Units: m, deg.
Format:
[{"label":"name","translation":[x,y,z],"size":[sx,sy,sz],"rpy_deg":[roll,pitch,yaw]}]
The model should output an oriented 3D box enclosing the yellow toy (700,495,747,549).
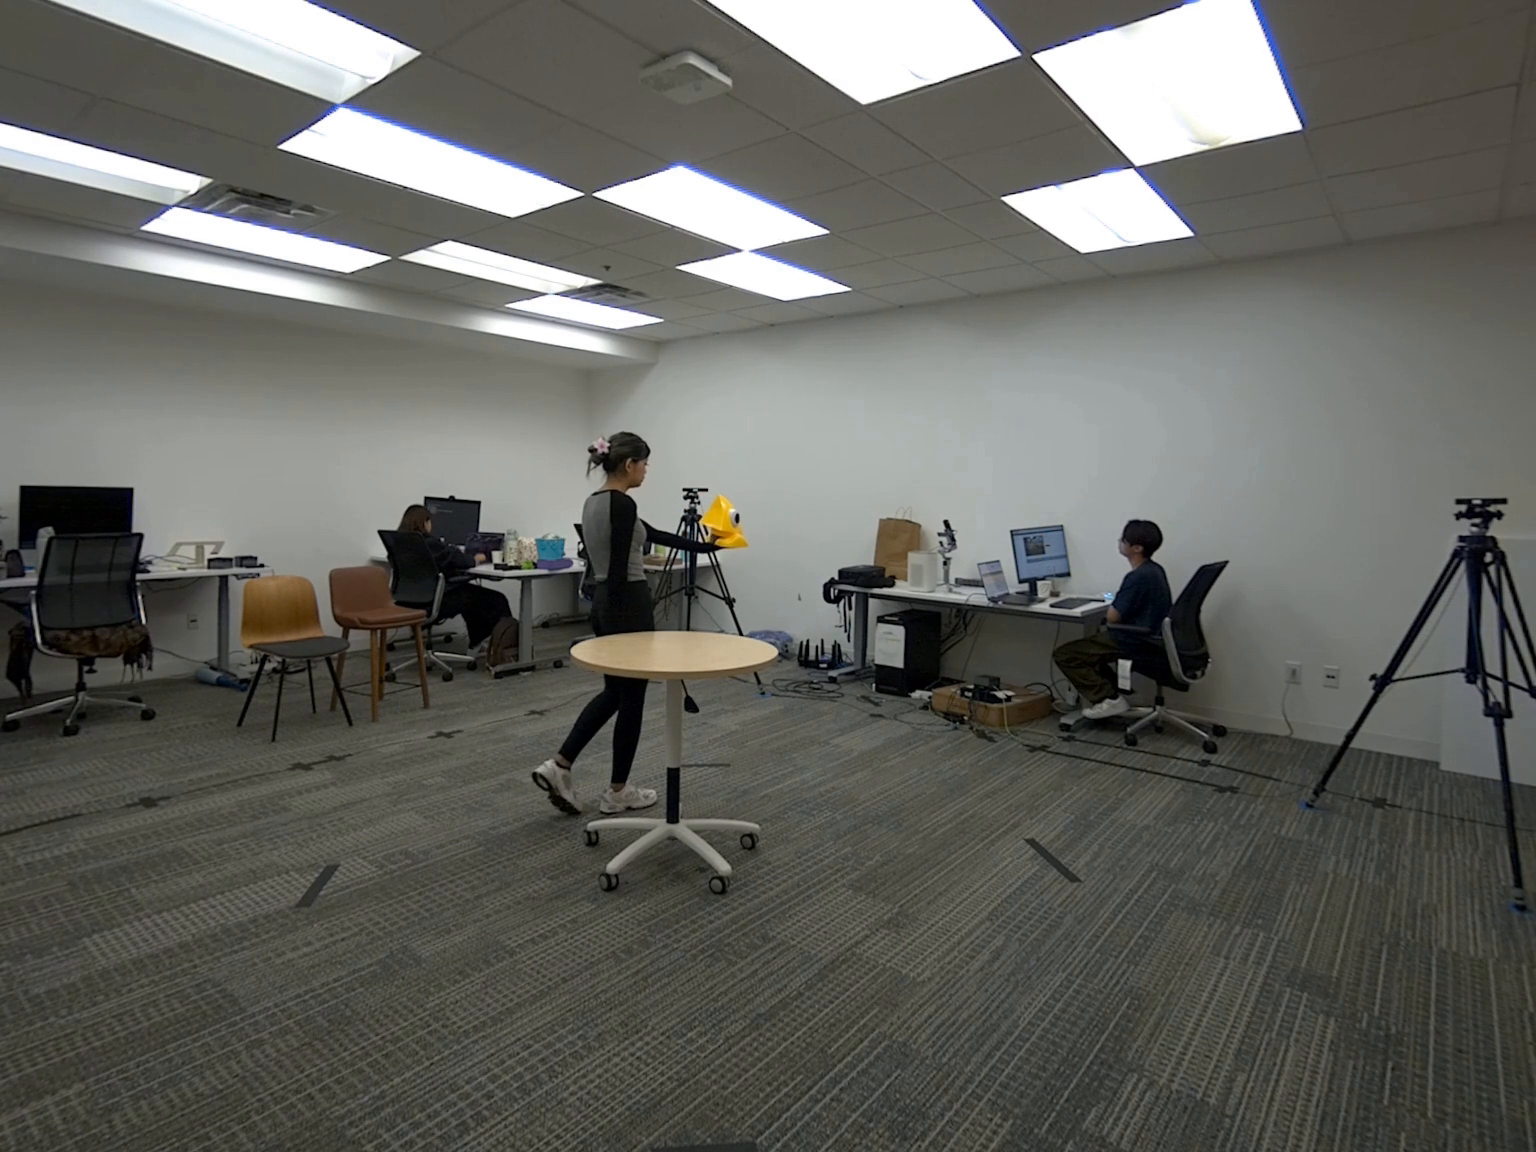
[{"label":"yellow toy","translation":[-0.202,-0.266,3.925],"size":[0.187,0.229,0.212],"rpy_deg":[-1,12,-34]}]
